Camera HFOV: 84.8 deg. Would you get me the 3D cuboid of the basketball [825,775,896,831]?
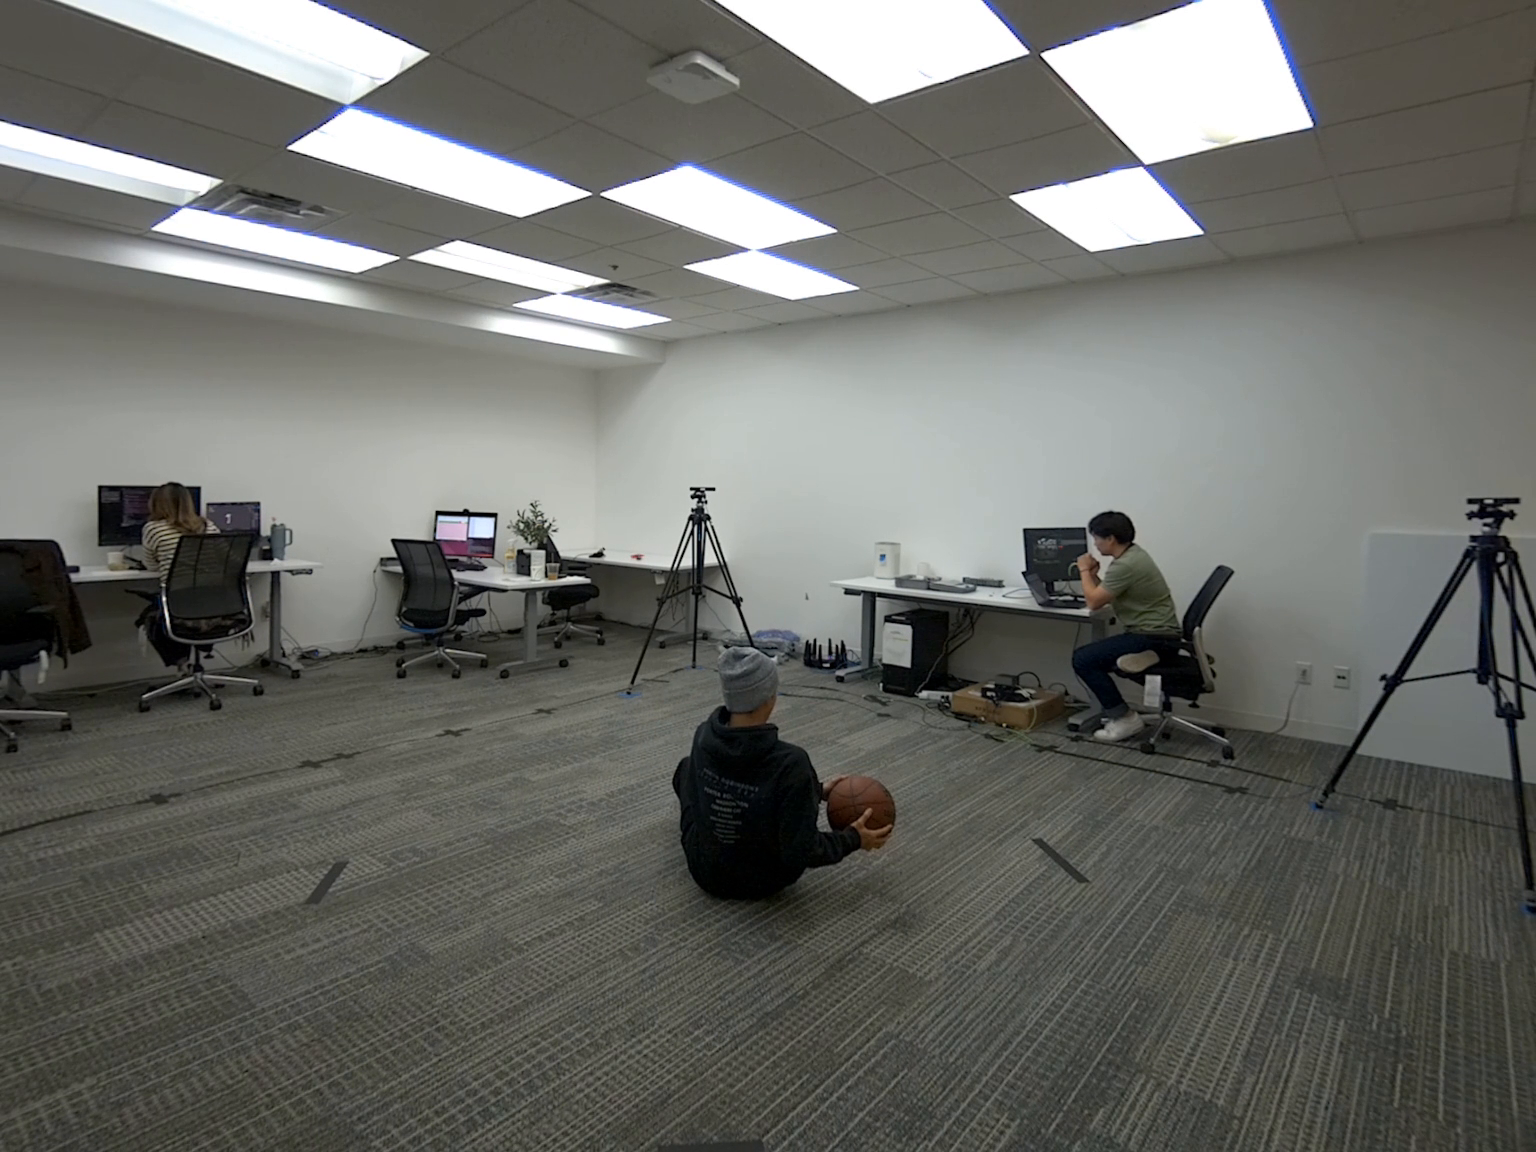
[{"bbox_3d":[0.314,0.813,2.952,0.235,0.235,0.237,1,4,-2],"label":"basketball"}]
